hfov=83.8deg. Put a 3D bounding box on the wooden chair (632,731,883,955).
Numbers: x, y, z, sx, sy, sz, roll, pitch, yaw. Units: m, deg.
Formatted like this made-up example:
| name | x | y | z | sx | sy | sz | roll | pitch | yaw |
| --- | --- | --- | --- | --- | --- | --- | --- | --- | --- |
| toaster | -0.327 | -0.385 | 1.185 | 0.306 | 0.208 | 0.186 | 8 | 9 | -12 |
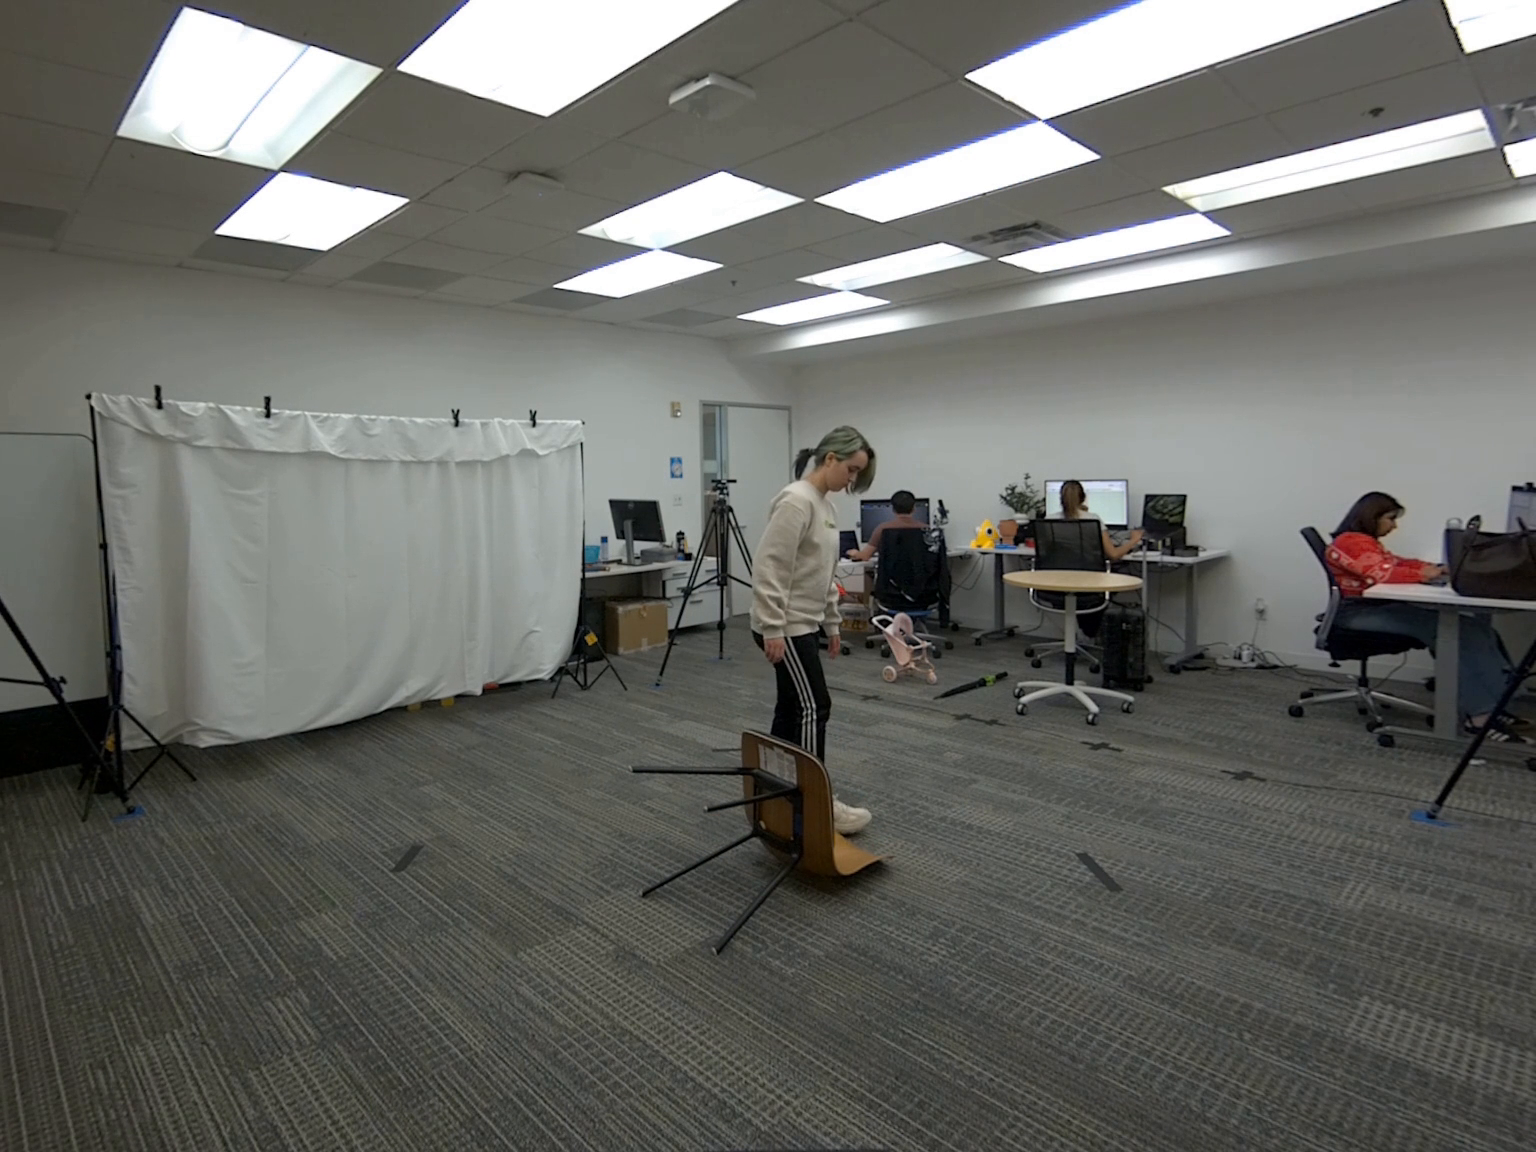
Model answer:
| name | x | y | z | sx | sy | sz | roll | pitch | yaw |
| --- | --- | --- | --- | --- | --- | --- | --- | --- | --- |
| wooden chair | 0.027 | 0.806 | 2.923 | 0.854 | 0.521 | 0.493 | -4 | 6 | -37 |
